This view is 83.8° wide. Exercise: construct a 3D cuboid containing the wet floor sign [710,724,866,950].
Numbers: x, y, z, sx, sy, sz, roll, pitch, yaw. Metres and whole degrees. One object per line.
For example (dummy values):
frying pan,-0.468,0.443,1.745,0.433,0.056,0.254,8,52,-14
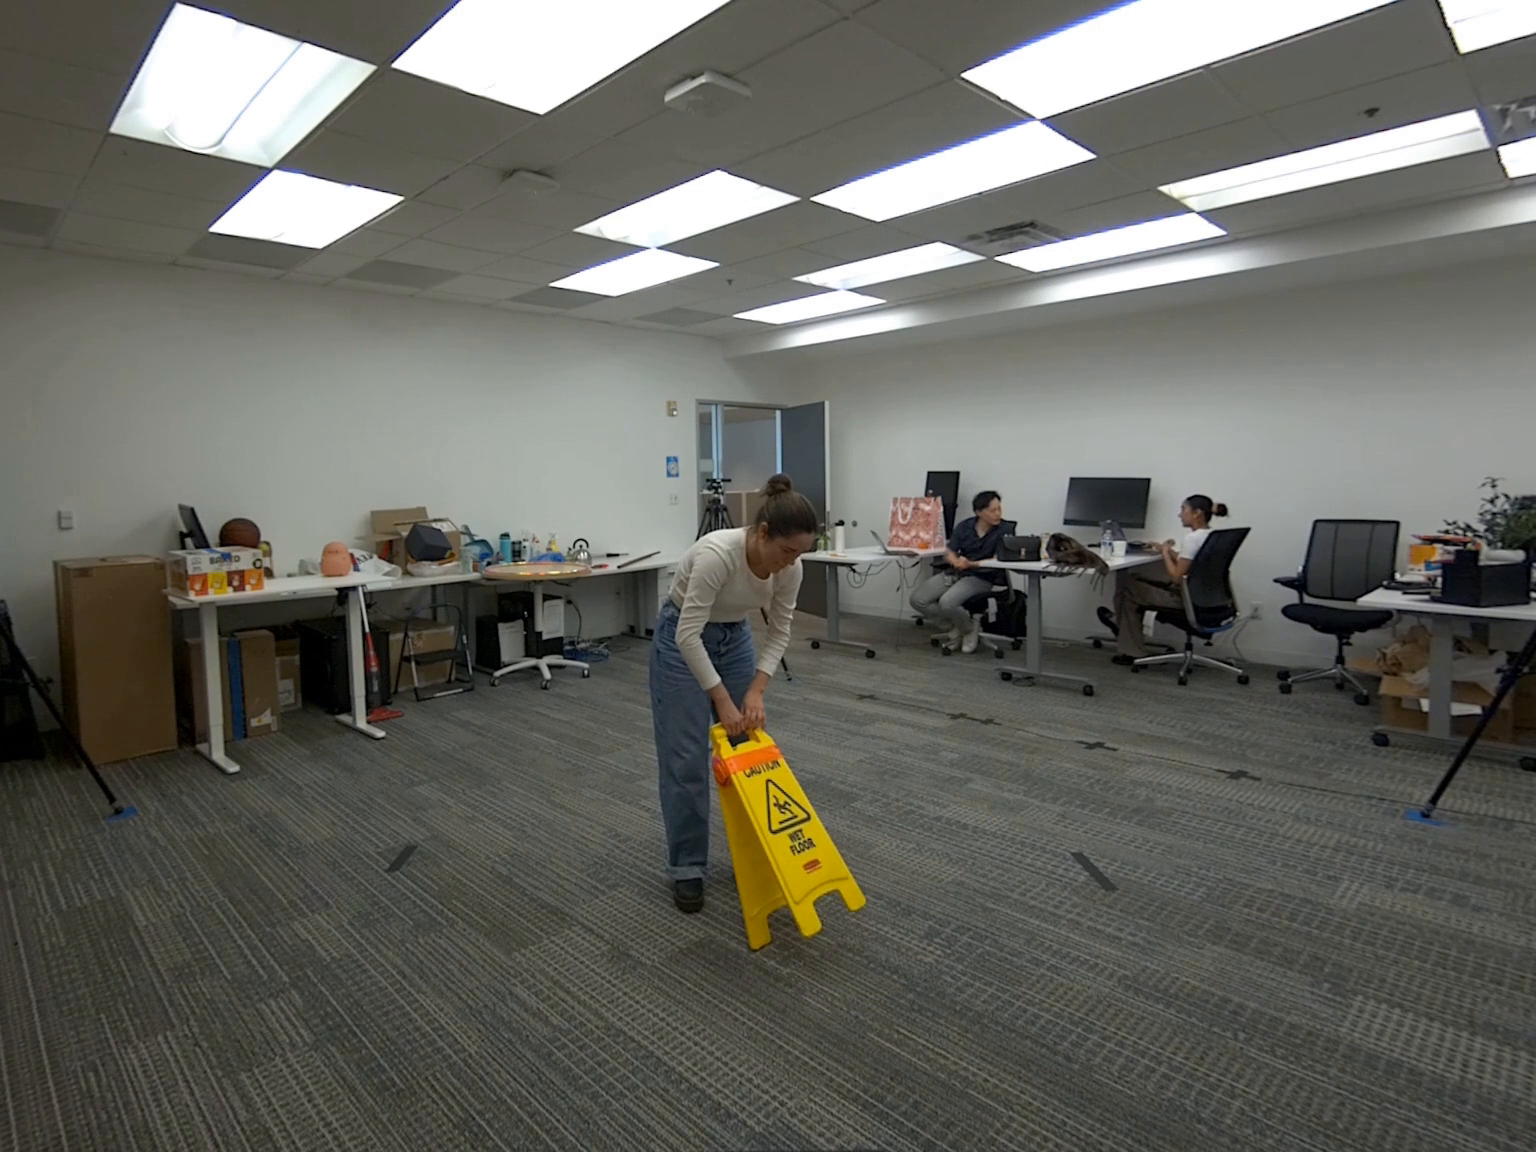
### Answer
wet floor sign,0.004,0.759,2.646,0.274,0.660,0.291,-3,-25,-44
